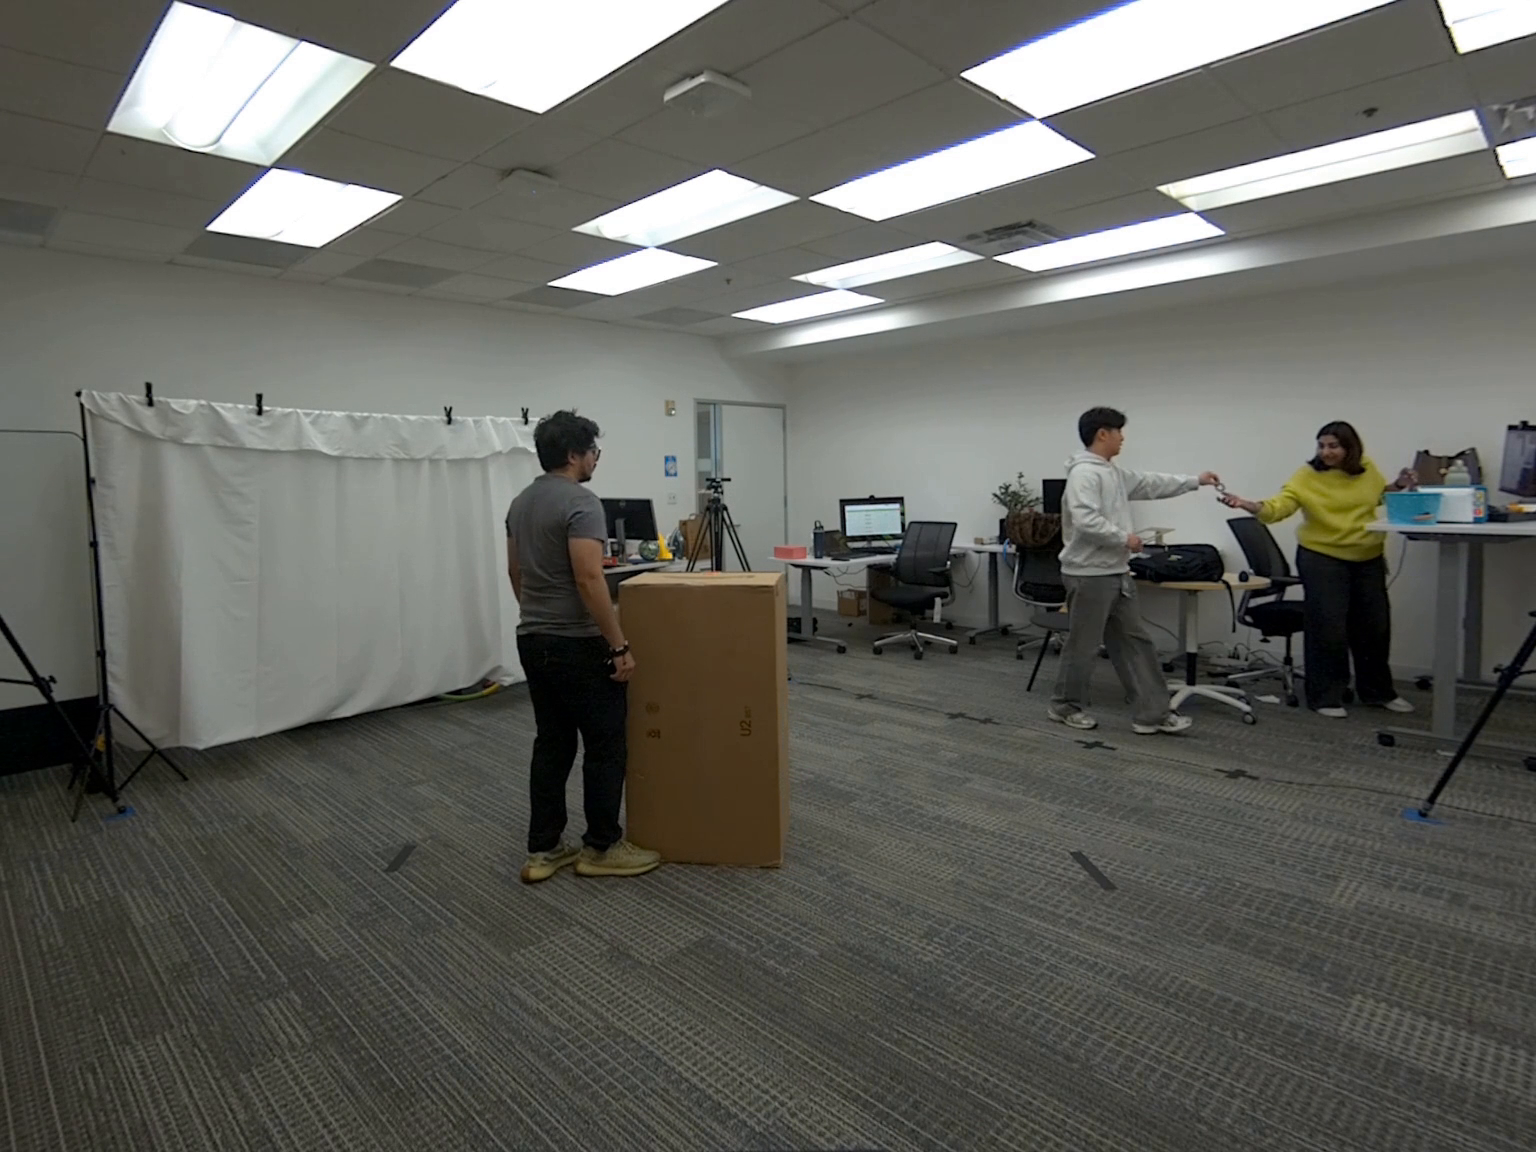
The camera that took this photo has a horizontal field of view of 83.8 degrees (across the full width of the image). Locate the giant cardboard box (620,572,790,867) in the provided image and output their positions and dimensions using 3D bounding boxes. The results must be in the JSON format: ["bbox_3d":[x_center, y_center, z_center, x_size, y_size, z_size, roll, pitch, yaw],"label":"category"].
[{"bbox_3d":[-0.225,0.517,3.282,0.589,1.023,0.445,0,4,7],"label":"giant cardboard box"}]
